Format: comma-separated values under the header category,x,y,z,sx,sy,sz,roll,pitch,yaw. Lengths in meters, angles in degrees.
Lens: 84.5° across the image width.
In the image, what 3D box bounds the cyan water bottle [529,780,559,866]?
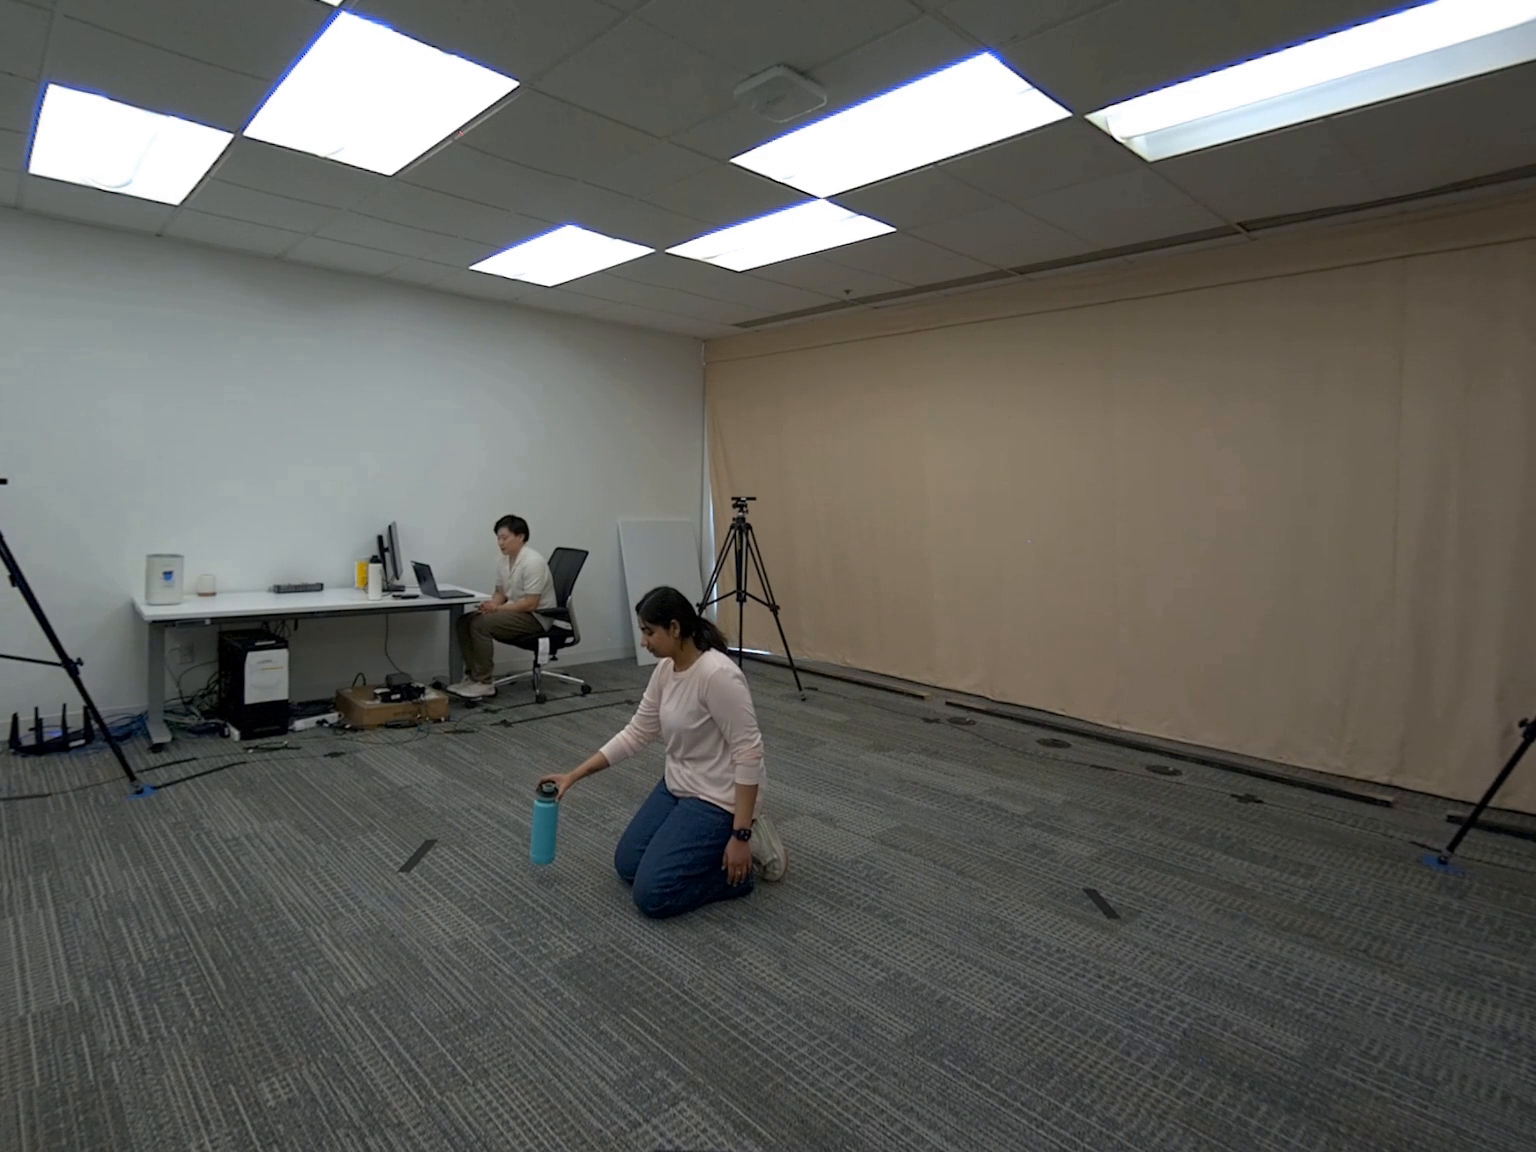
category,x,y,z,sx,sy,sz,roll,pitch,yaw
cyan water bottle,-0.800,0.879,3.022,0.092,0.282,0.093,6,5,-2
